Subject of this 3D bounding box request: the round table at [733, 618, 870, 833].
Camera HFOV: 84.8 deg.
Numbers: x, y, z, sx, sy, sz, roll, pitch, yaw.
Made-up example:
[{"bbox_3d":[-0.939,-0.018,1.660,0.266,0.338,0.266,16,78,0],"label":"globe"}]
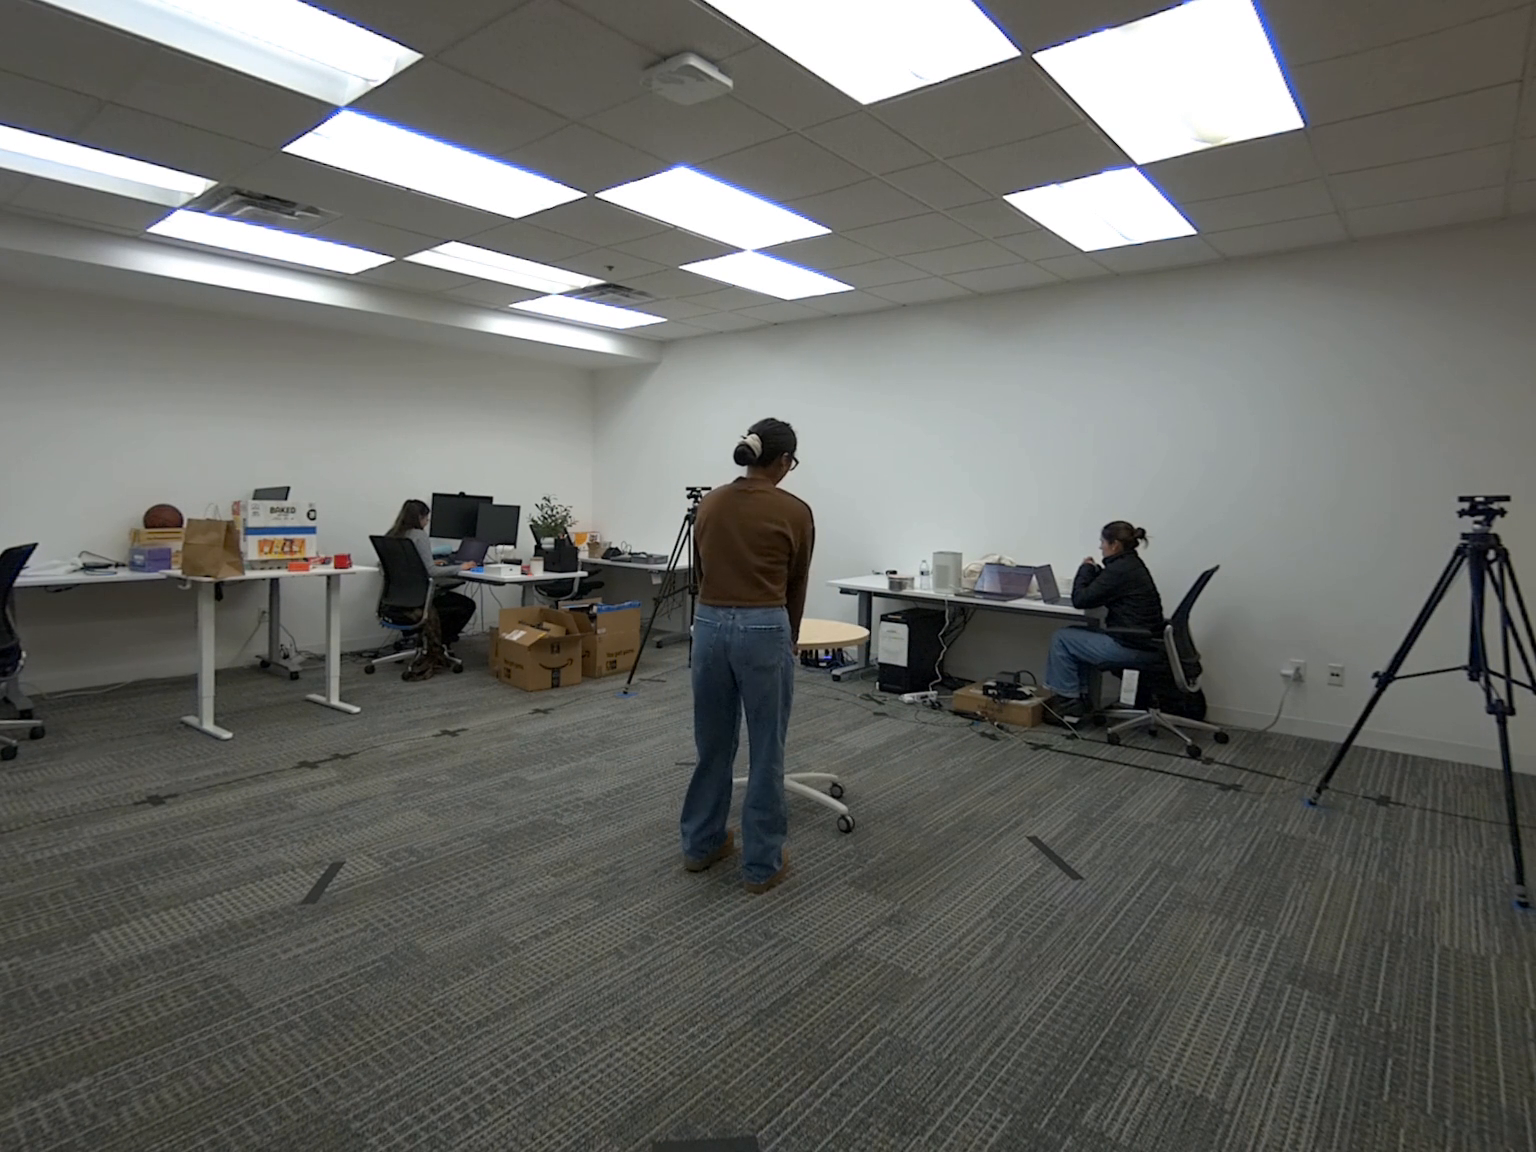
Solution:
[{"bbox_3d":[0.046,0.616,3.657,0.784,0.784,0.788,0,3,-2],"label":"round table"}]
